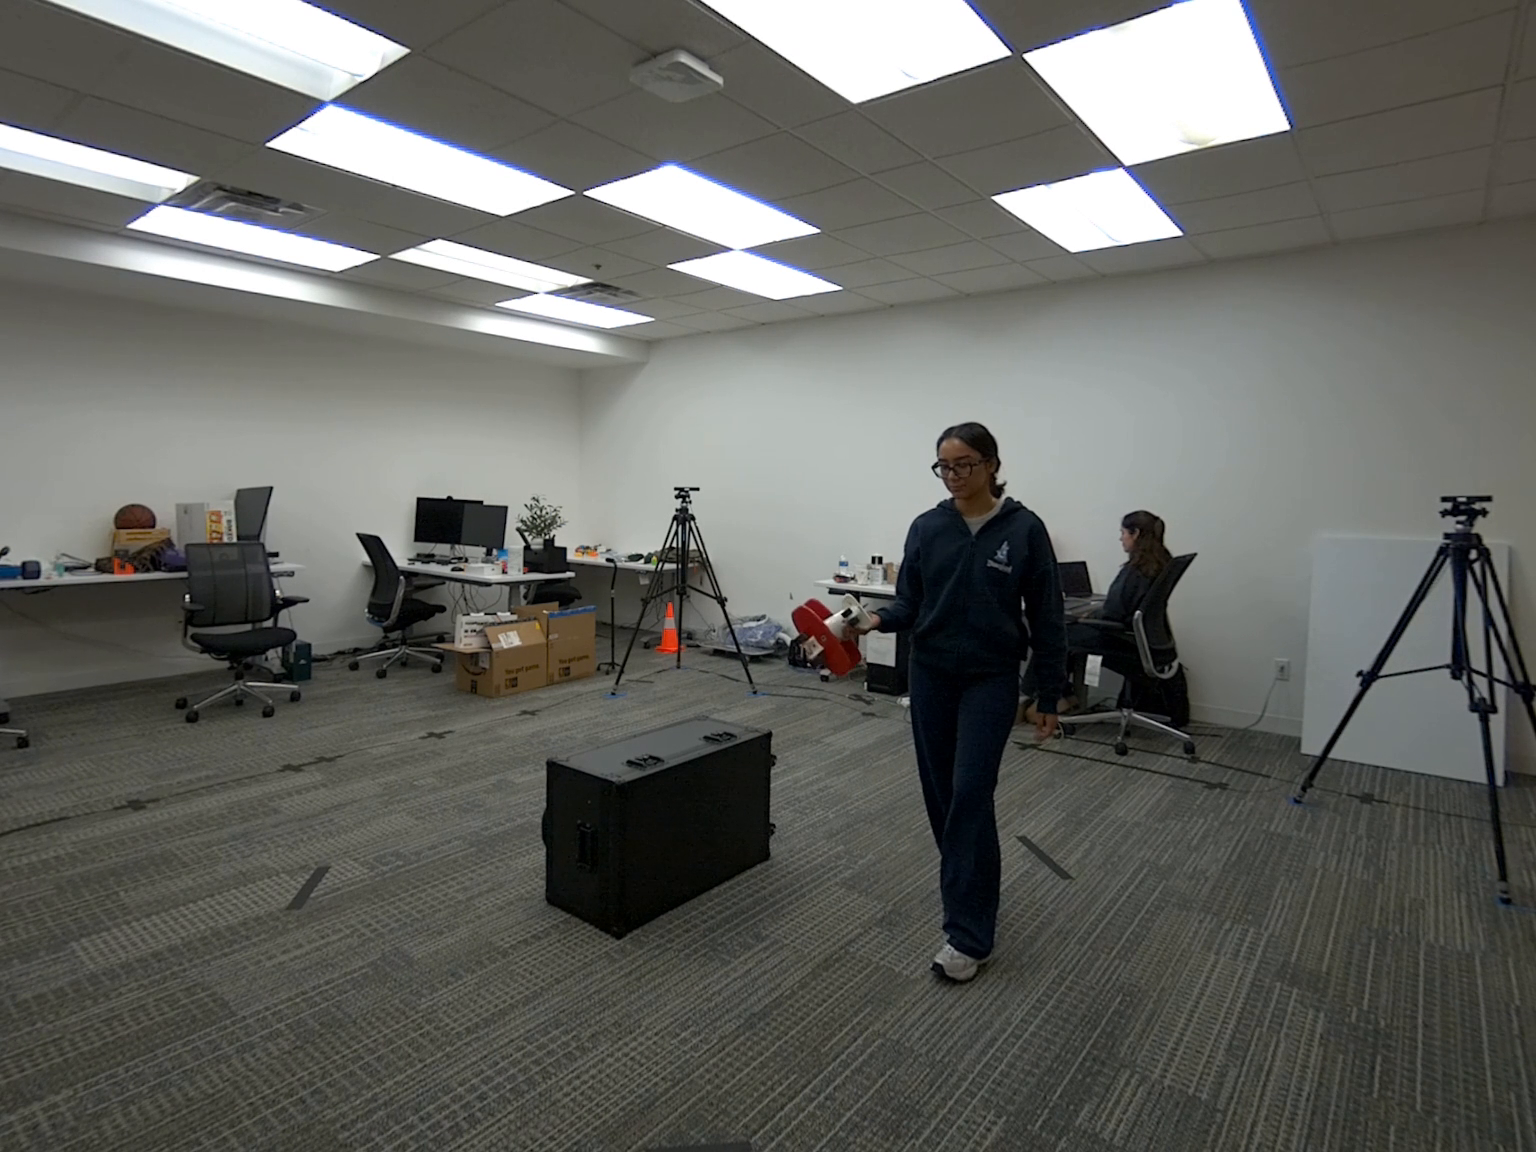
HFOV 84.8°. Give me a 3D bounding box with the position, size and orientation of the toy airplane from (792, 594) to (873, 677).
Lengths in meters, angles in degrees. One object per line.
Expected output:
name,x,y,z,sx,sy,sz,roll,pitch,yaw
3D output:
toy airplane,0.217,0.180,2.683,0.264,0.251,0.154,-12,1,23
